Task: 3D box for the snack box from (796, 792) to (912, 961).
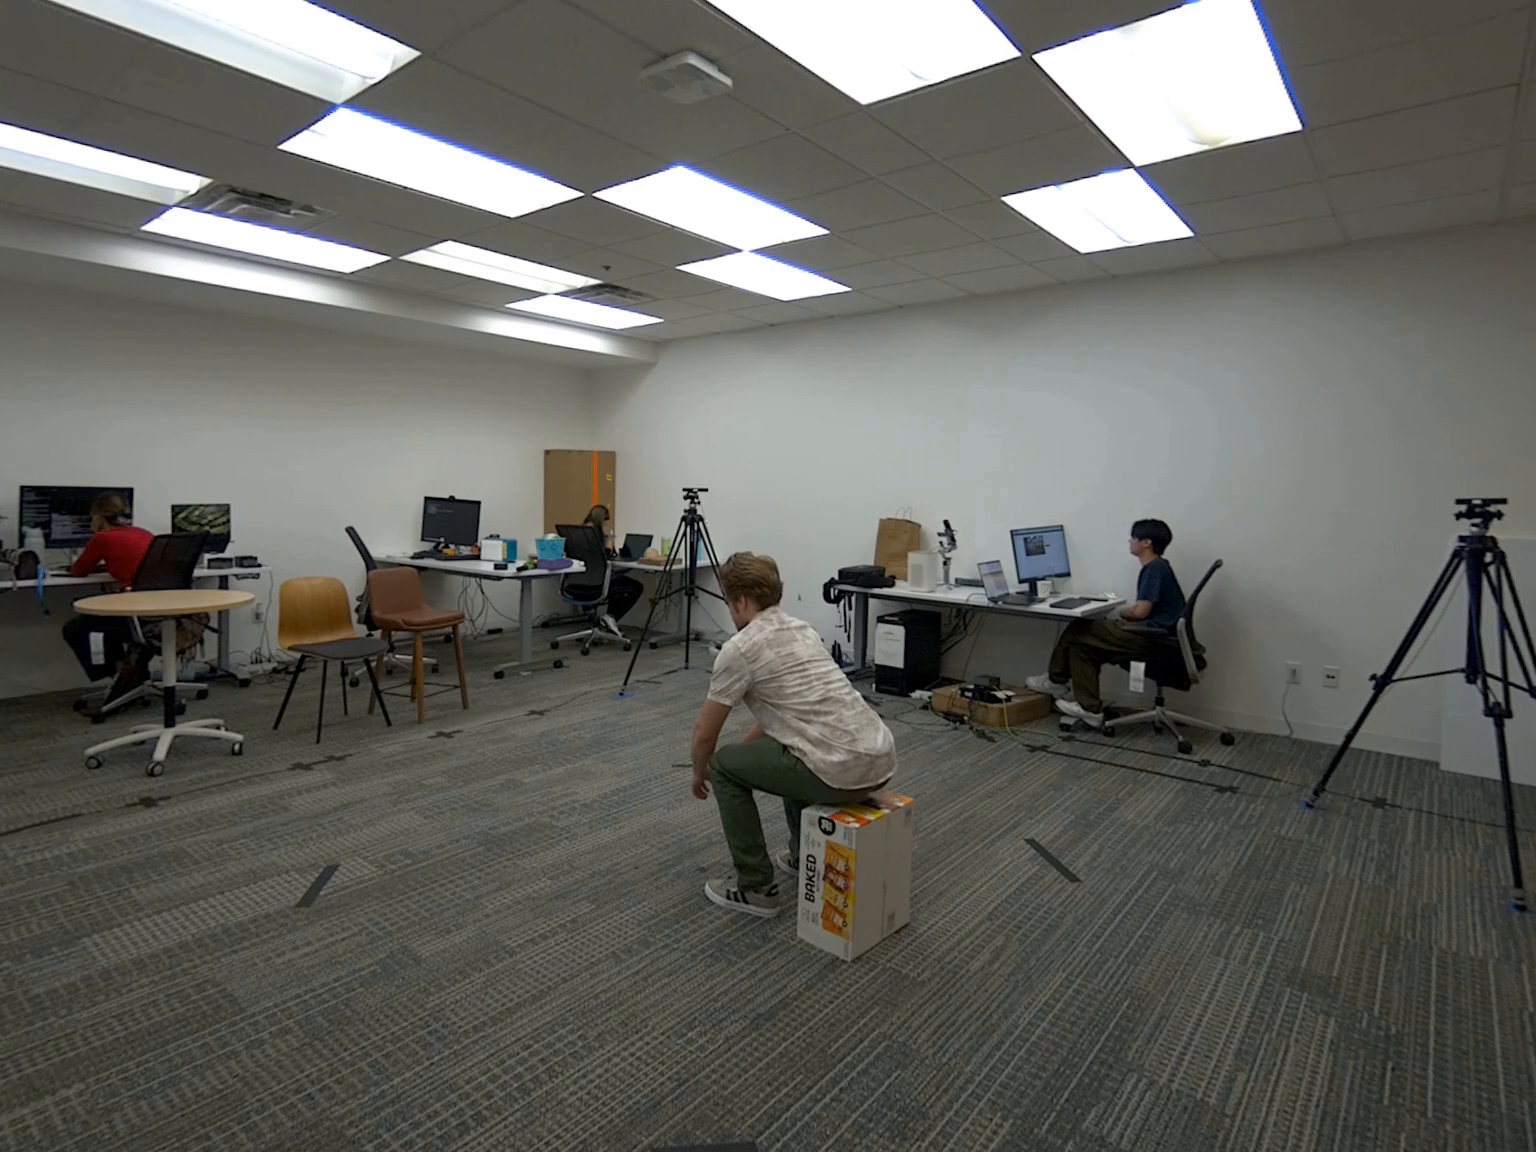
[{"bbox_3d":[0.278,0.920,2.690,0.213,0.404,0.330,4,4,41],"label":"snack box"}]
